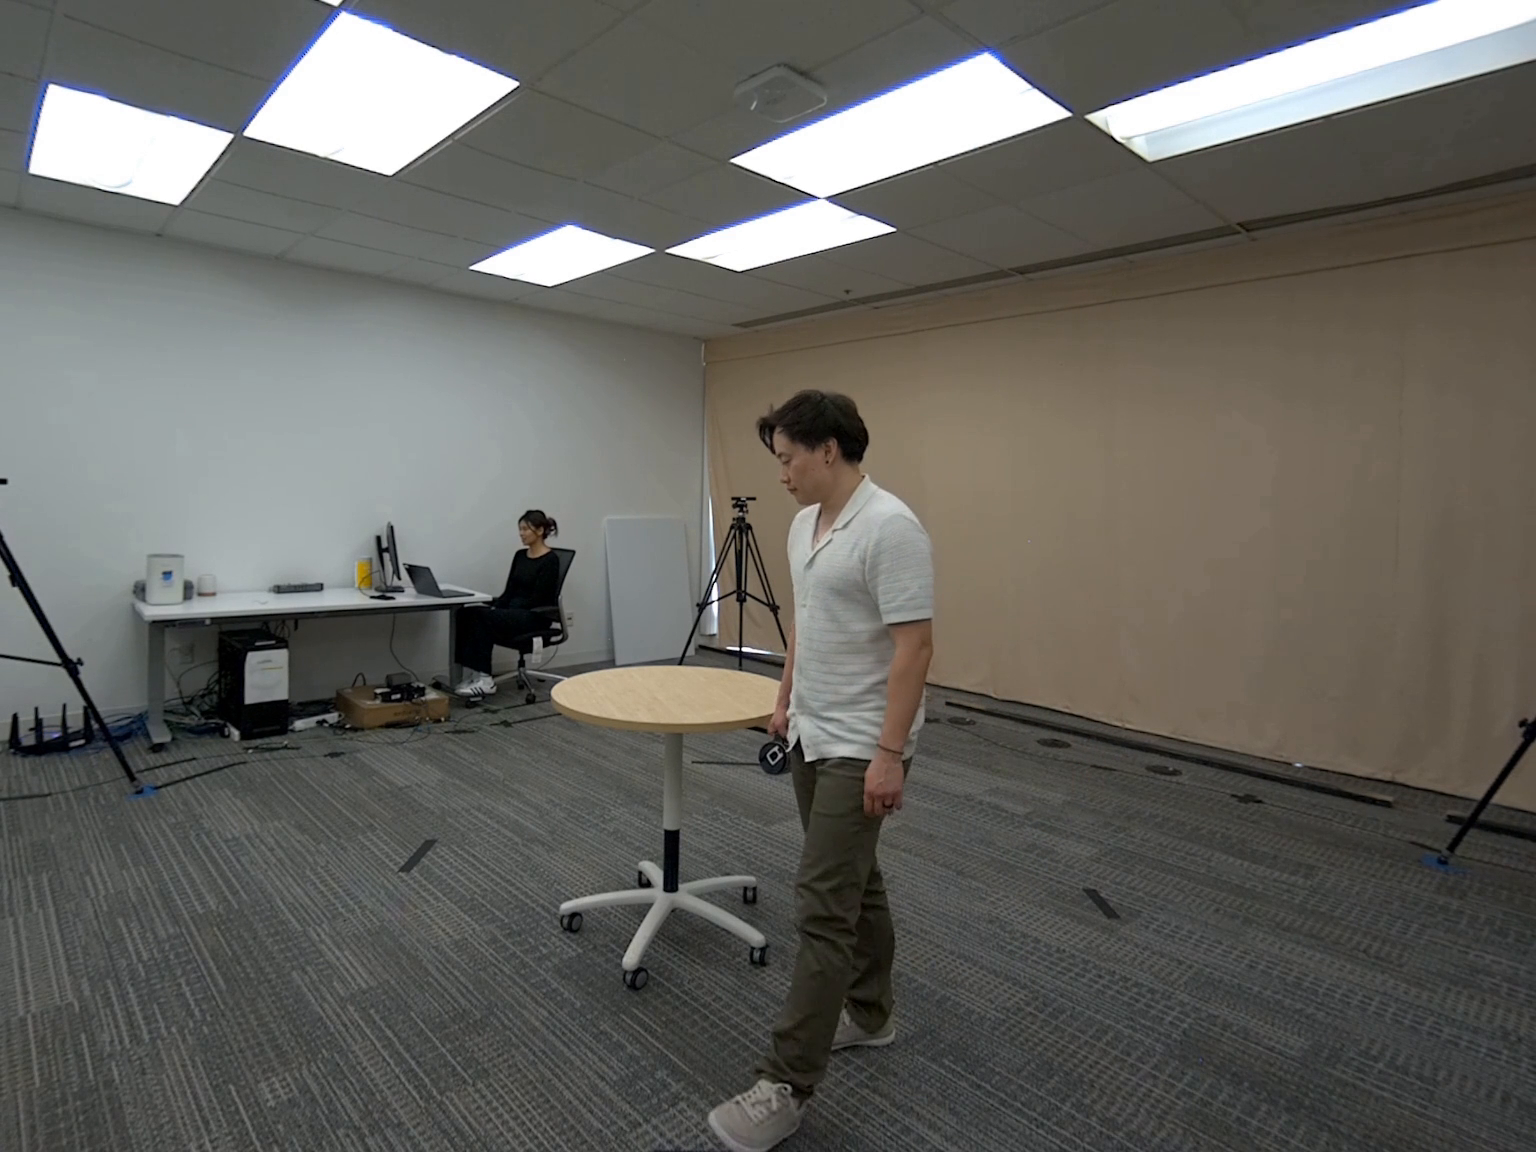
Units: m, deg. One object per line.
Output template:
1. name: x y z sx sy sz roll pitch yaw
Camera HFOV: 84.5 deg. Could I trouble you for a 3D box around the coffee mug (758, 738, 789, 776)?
1. coffee mug: 0.047 0.479 2.338 0.089 0.124 0.197 -21 -19 33
